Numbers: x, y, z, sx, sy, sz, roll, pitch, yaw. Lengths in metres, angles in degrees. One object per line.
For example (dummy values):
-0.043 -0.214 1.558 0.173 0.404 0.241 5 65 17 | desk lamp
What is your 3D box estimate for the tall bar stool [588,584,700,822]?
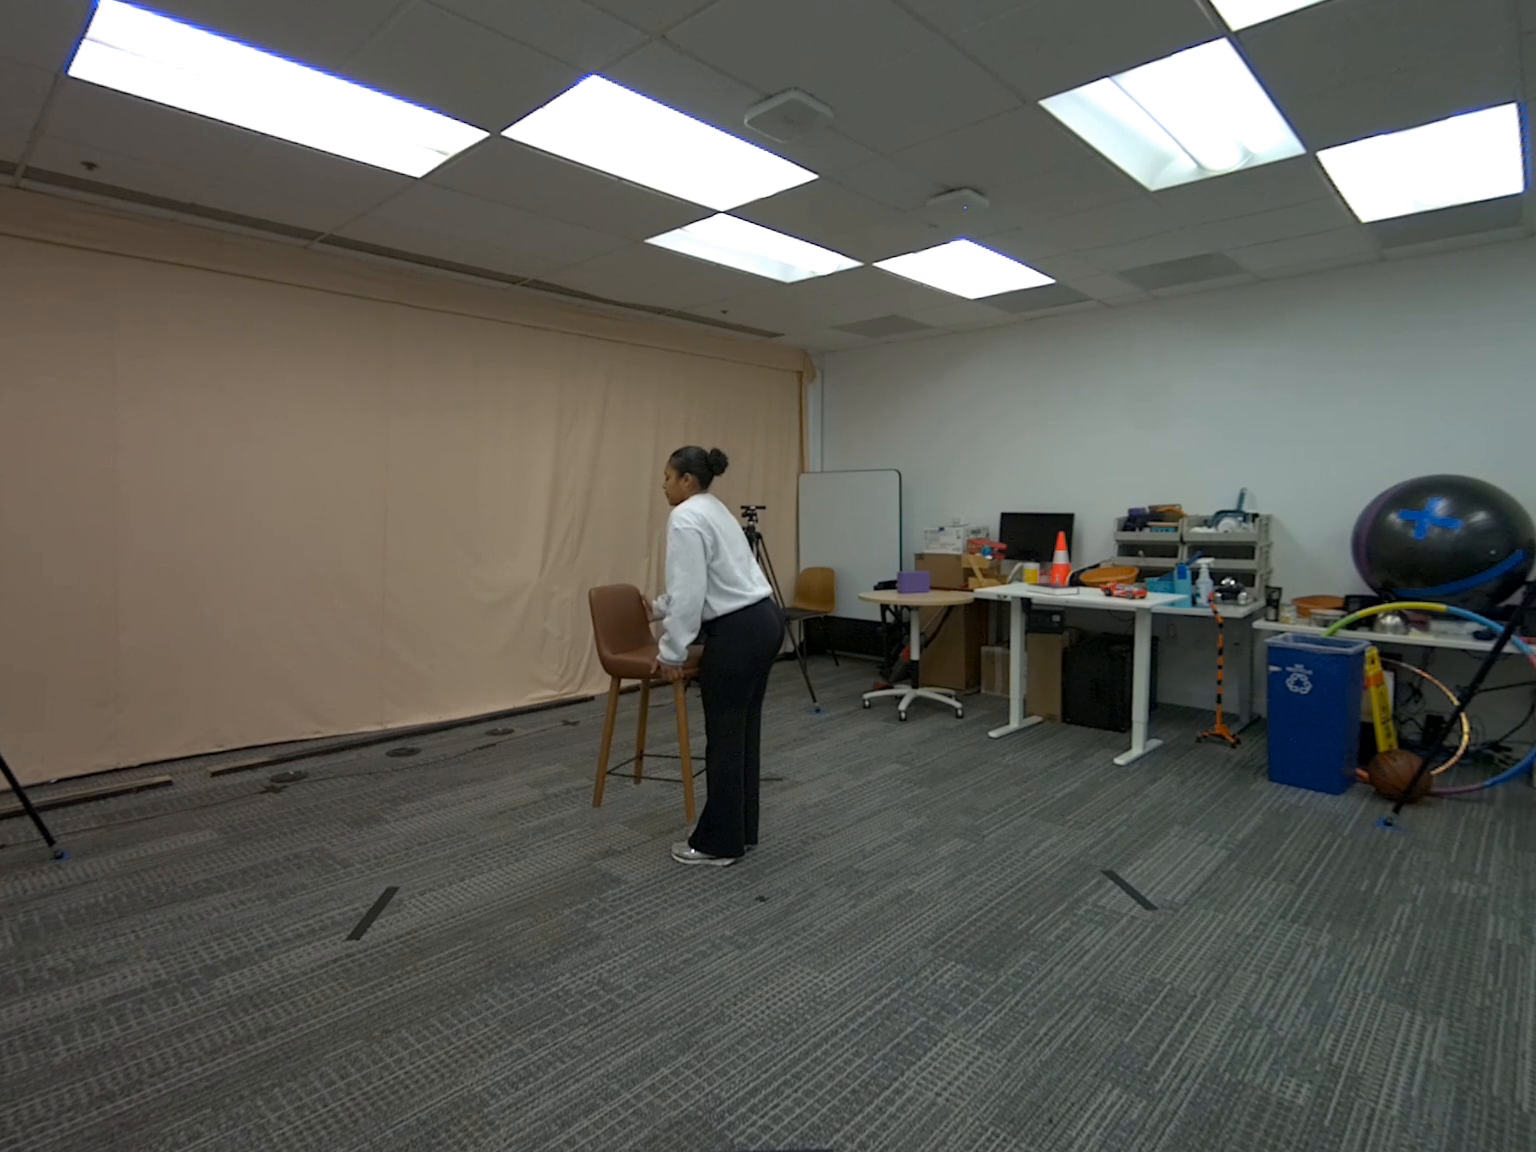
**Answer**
-0.439 0.490 3.432 0.478 0.890 0.446 -2 0 22 | tall bar stool
